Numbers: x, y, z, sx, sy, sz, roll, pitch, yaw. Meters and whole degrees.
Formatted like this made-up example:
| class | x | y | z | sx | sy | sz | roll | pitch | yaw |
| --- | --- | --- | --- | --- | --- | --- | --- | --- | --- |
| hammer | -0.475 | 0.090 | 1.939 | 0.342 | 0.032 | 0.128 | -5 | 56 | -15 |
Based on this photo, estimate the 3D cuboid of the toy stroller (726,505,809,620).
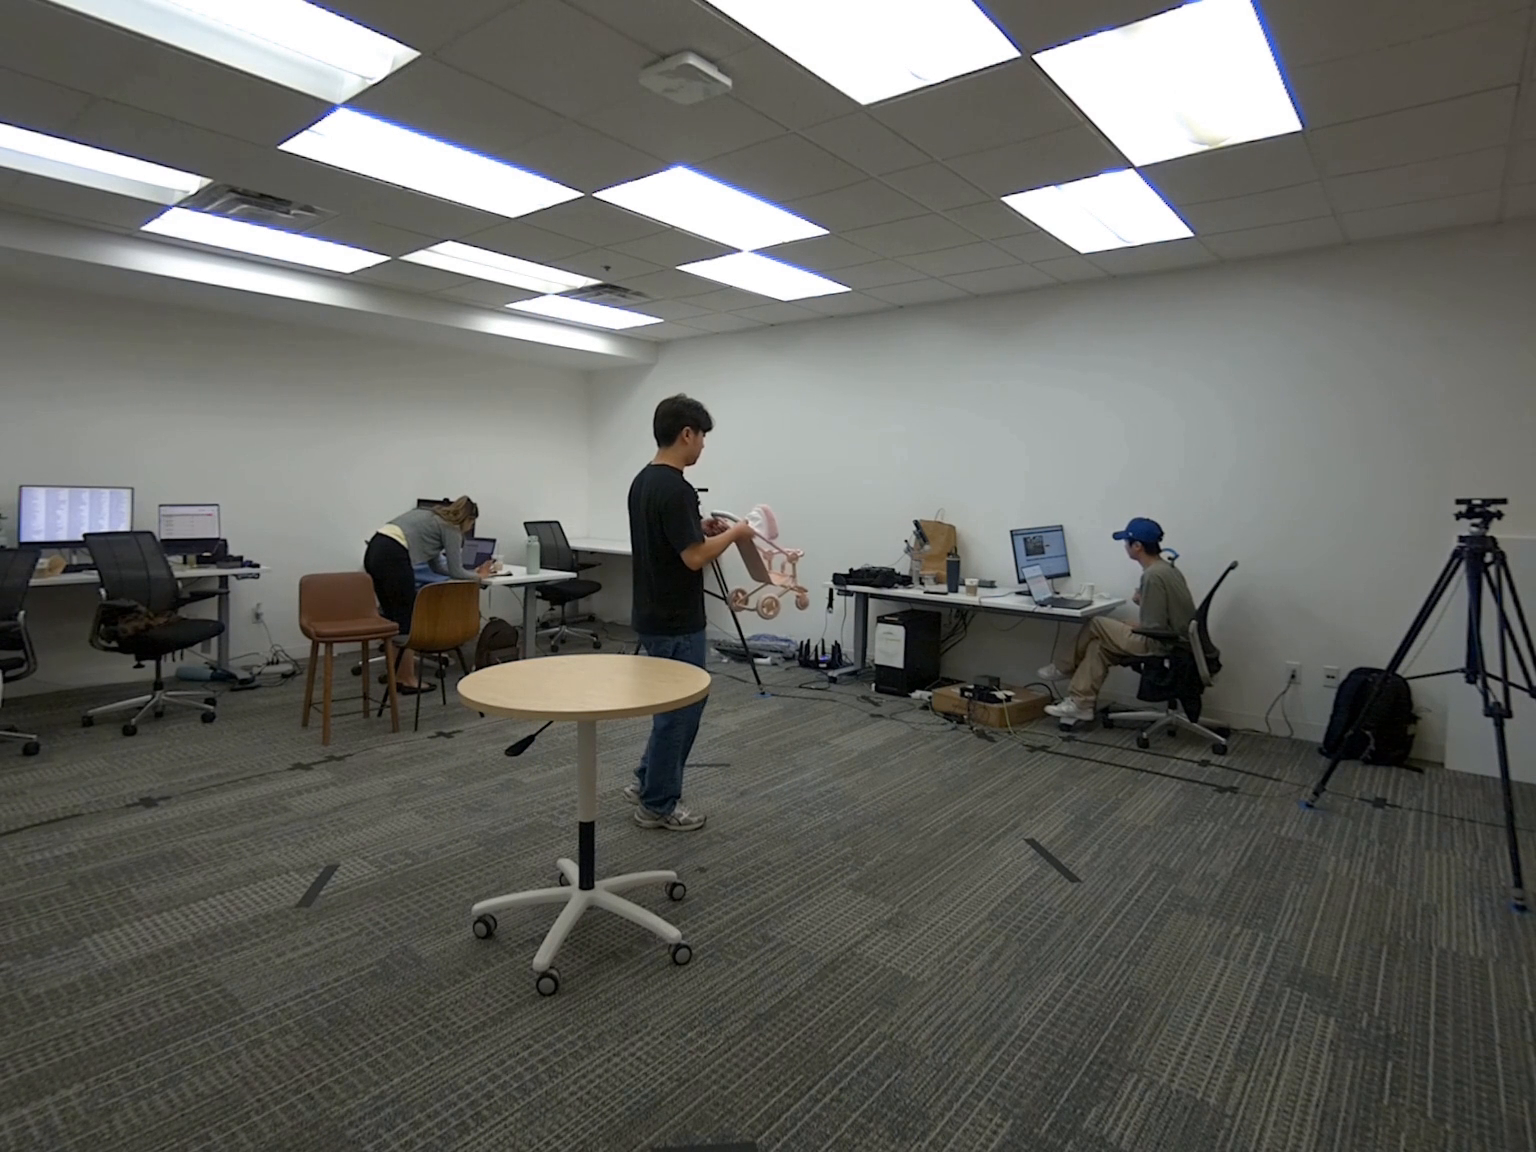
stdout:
| class | x | y | z | sx | sy | sz | roll | pitch | yaw |
| --- | --- | --- | --- | --- | --- | --- | --- | --- | --- |
| toy stroller | -0.018 | -0.063 | 3.612 | 0.336 | 0.529 | 0.289 | -18 | 11 | -22 |
